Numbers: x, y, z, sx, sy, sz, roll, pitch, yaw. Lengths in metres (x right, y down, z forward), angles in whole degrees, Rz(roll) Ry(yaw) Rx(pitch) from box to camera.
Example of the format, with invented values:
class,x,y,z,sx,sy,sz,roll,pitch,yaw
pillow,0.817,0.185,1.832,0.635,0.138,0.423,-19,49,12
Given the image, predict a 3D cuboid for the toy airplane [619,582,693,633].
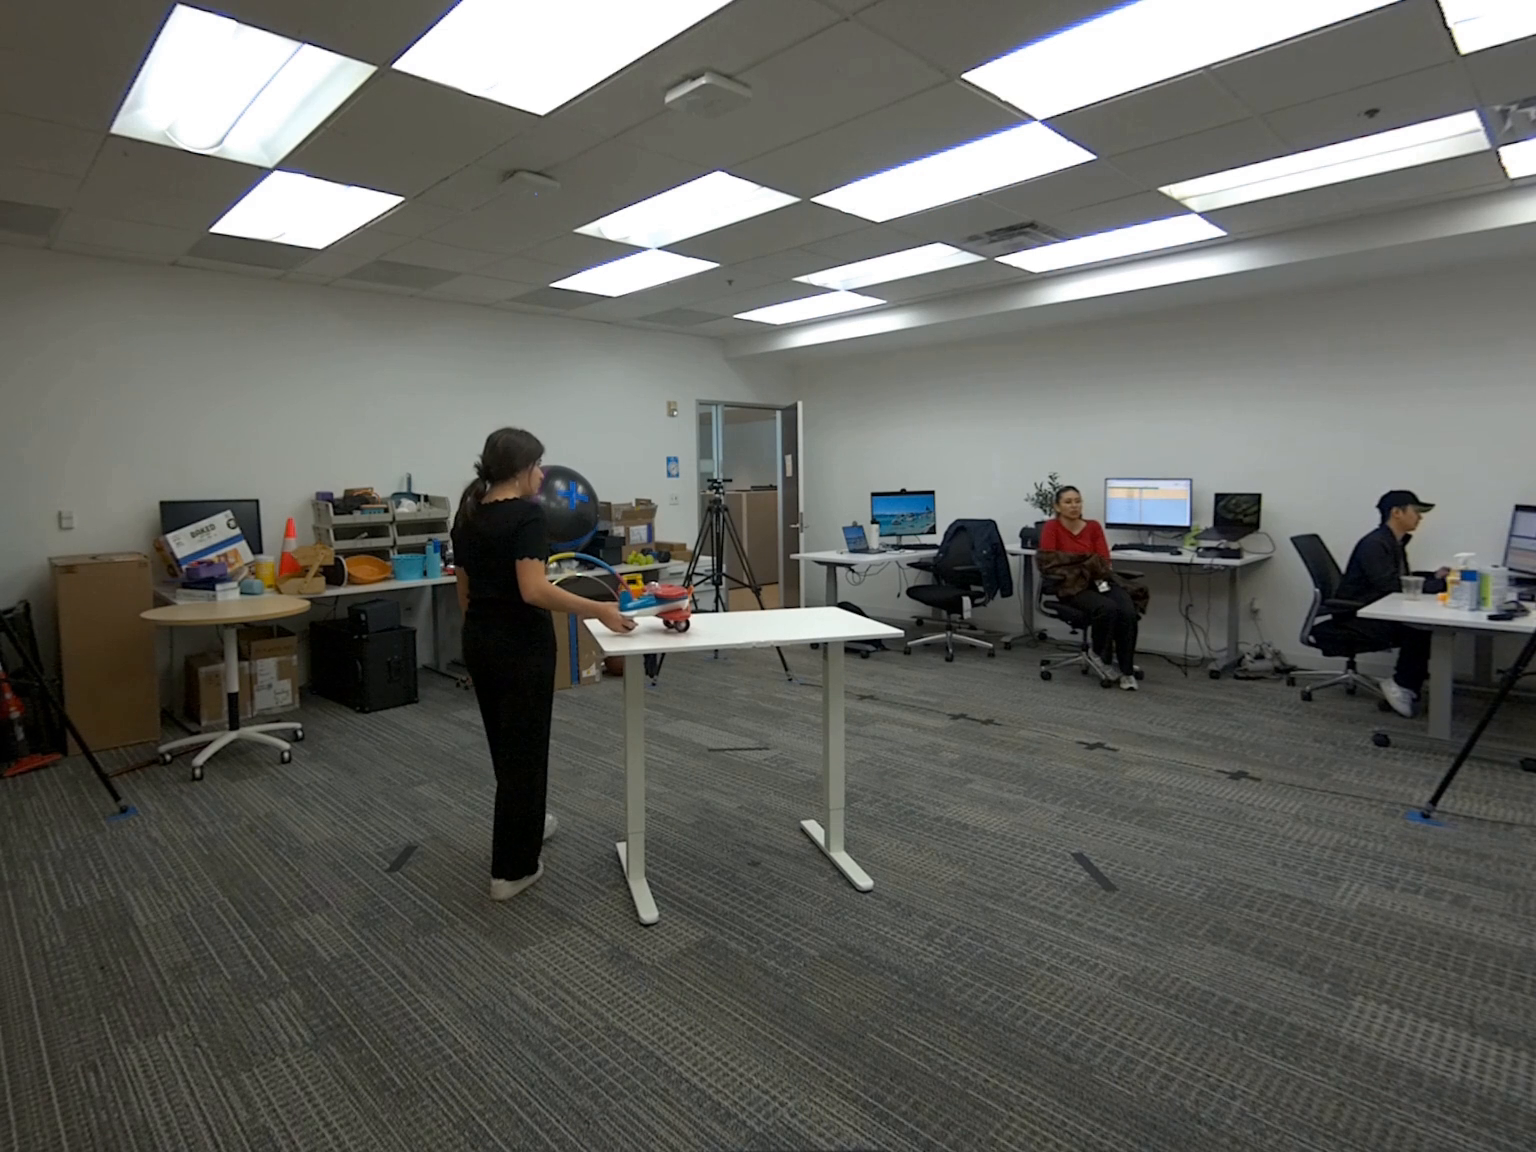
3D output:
class,x,y,z,sx,sy,sz,roll,pitch,yaw
toy airplane,-0.372,0.108,2.869,0.258,0.156,0.252,6,2,33
